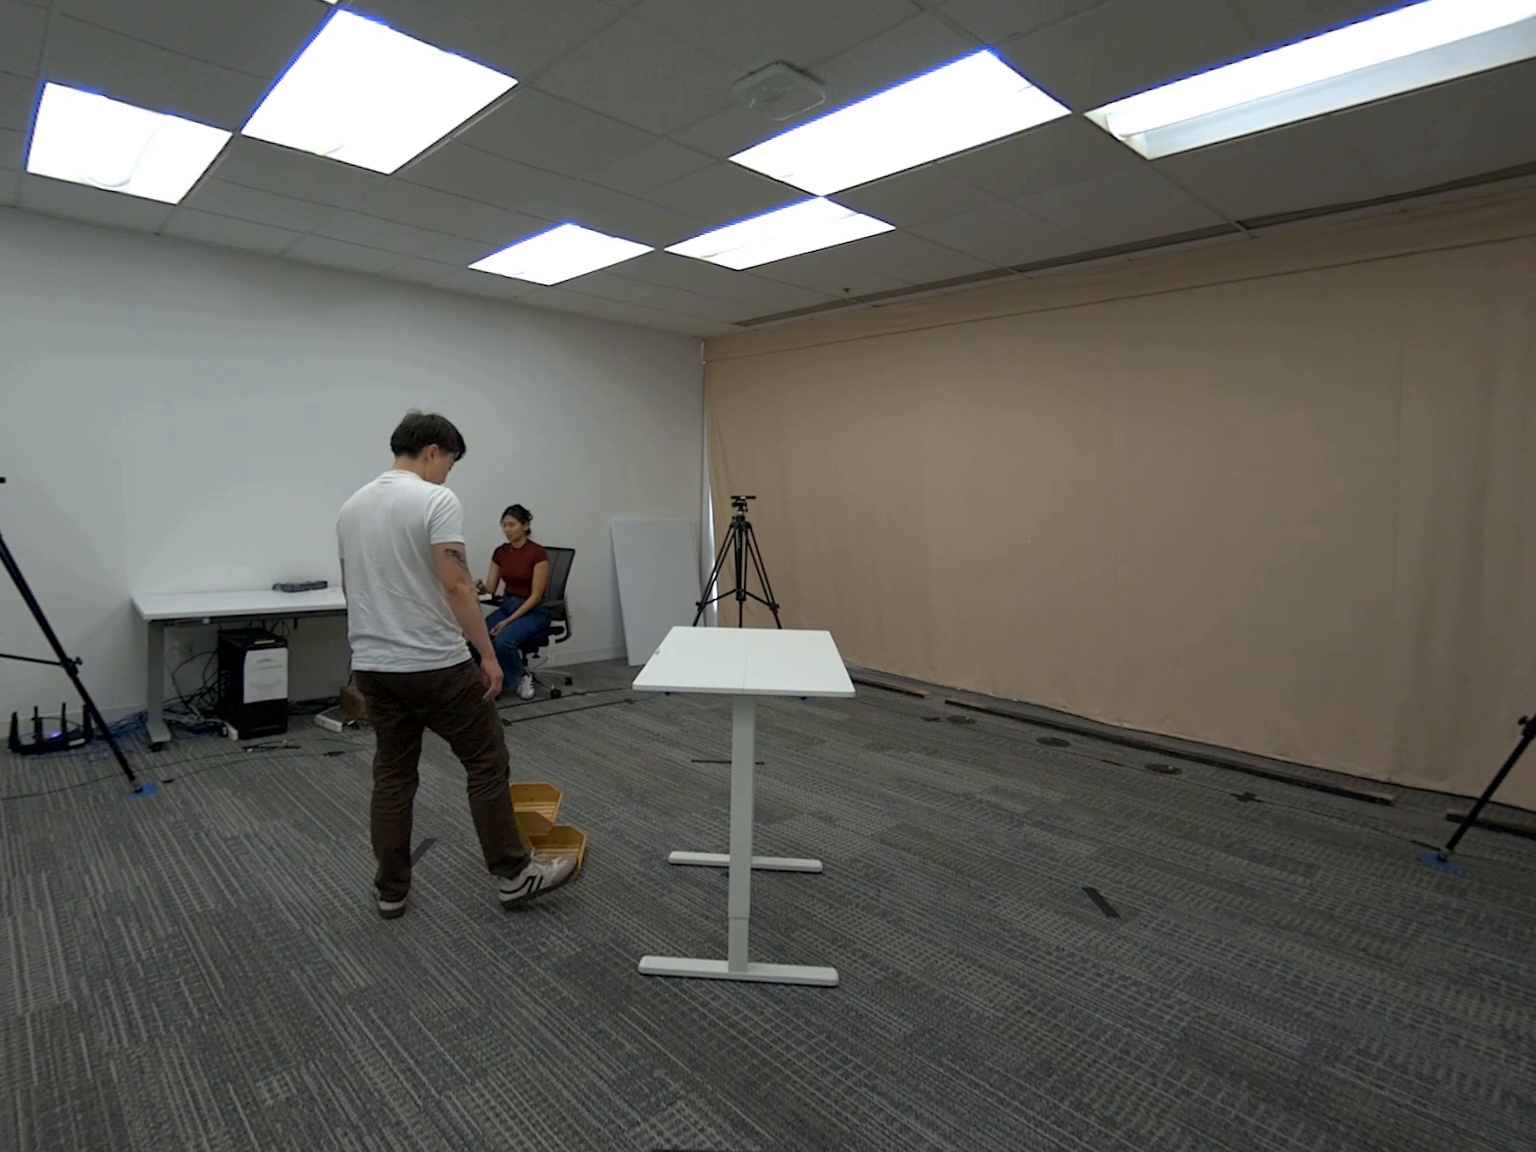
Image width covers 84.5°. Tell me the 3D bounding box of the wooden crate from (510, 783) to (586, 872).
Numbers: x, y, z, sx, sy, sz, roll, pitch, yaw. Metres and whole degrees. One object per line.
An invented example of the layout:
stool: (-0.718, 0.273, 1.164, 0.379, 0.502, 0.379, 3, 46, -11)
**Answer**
wooden crate: (-0.846, 0.949, 3.146, 0.300, 0.272, 0.327, 0, 4, -7)
